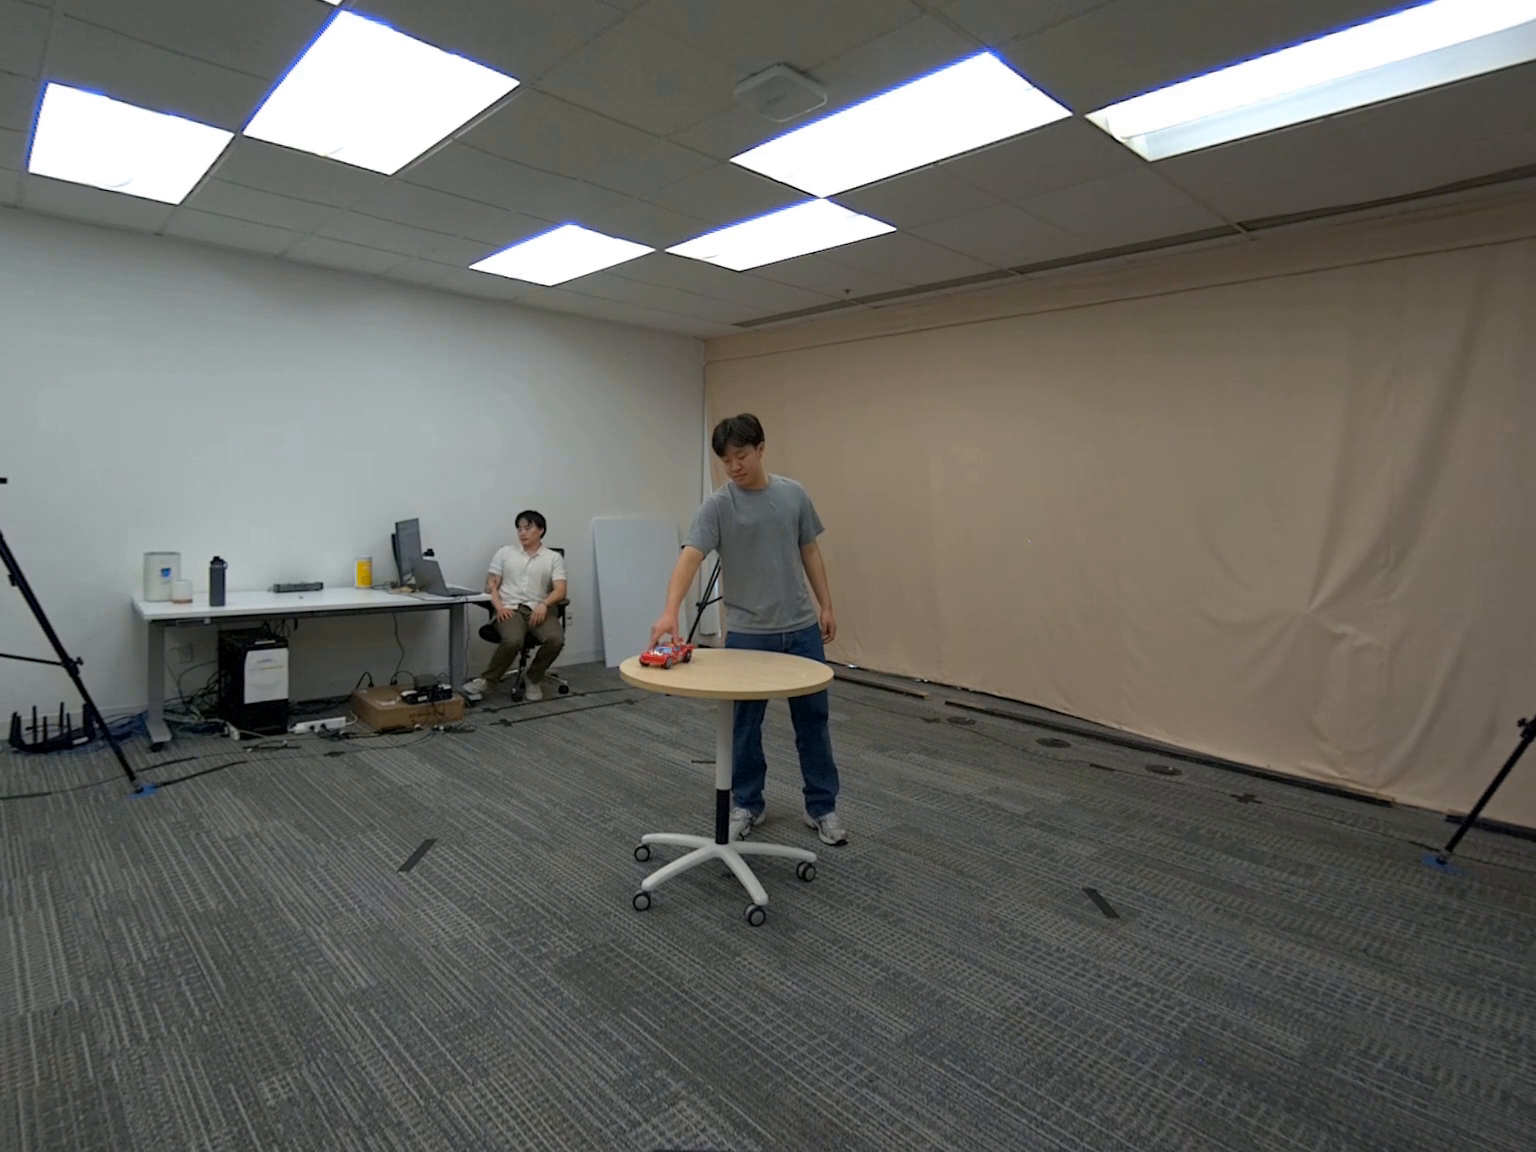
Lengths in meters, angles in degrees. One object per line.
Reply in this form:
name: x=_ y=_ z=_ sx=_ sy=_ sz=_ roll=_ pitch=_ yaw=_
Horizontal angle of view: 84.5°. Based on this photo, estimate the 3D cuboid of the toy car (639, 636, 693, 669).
toy car: x=-0.369 y=0.290 z=3.067 sx=0.133 sy=0.082 sz=0.252 roll=2 pitch=15 yaw=23
